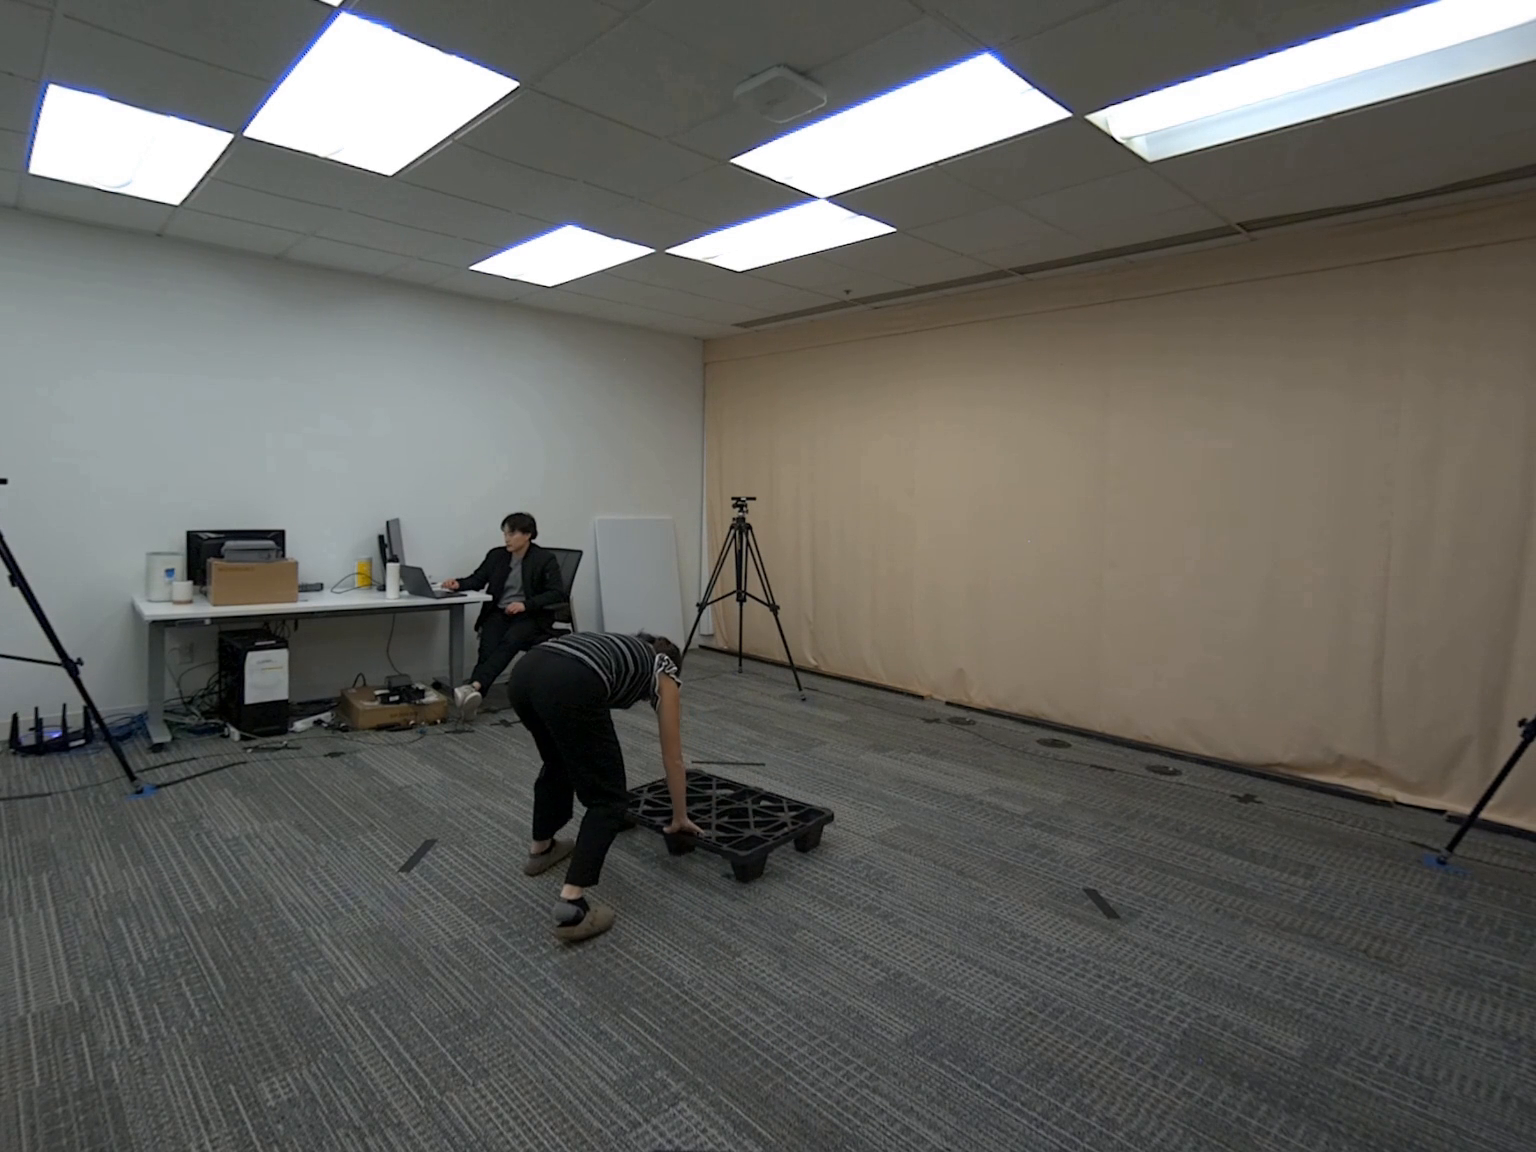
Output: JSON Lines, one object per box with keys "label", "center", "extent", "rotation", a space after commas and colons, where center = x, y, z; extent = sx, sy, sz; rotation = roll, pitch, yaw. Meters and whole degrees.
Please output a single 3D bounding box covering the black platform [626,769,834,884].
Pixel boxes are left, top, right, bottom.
{"label": "black platform", "center": [-0.229, 1.005, 3.453], "extent": [0.826, 0.143, 0.591], "rotation": [6, 6, 38]}
